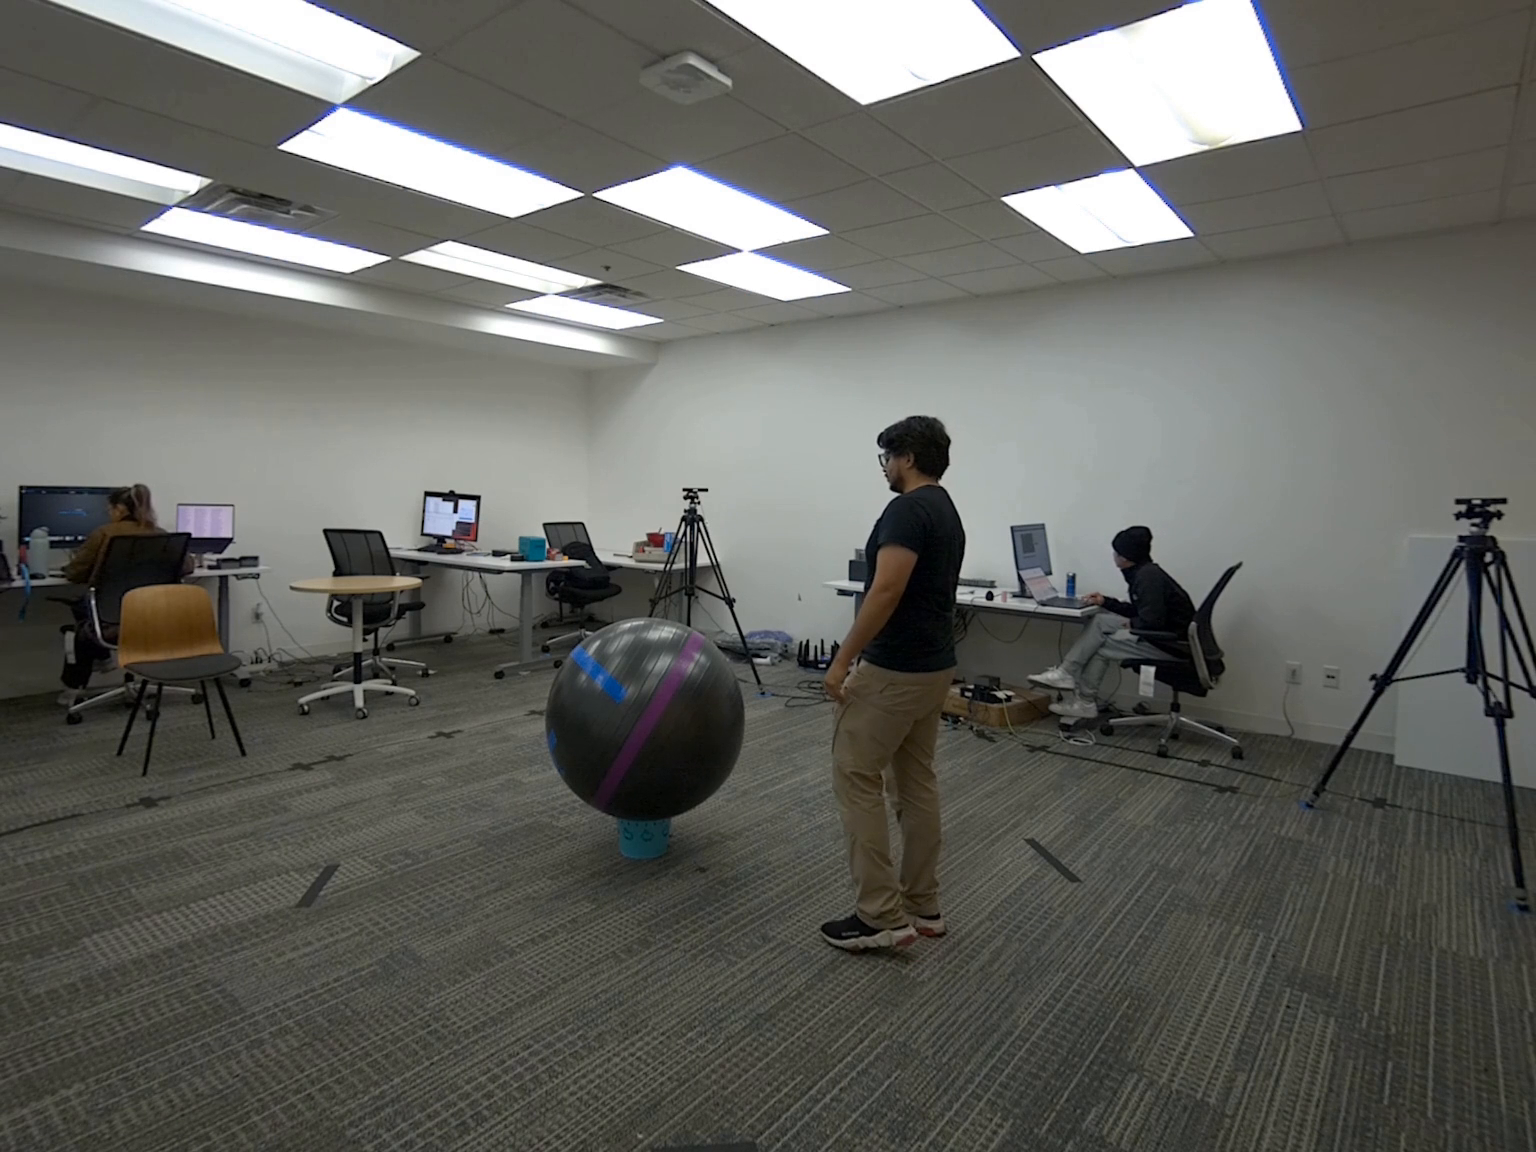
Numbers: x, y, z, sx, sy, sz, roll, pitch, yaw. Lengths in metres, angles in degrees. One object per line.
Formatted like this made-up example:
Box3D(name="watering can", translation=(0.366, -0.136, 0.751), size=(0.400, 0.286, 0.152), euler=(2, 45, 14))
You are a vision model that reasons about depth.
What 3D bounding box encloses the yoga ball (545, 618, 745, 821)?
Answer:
Box3D(name="yoga ball", translation=(-0.479, 0.545, 3.256), size=(0.757, 0.756, 0.761), euler=(1, 4, -2))
